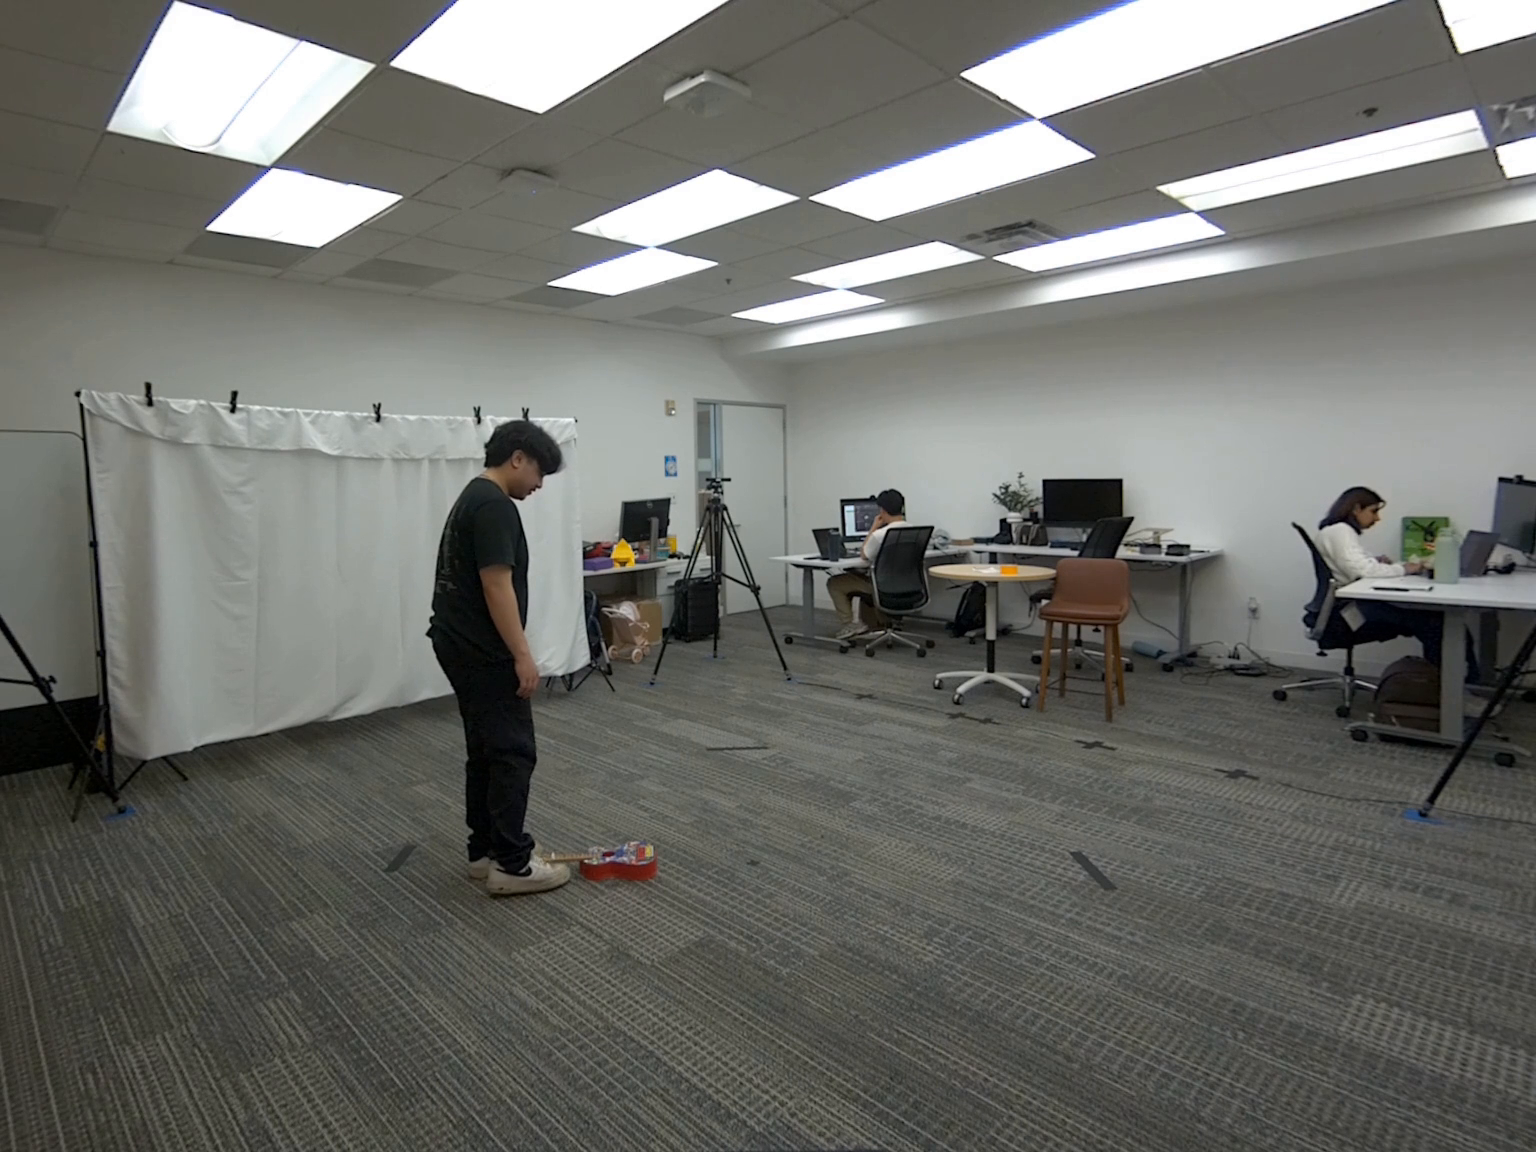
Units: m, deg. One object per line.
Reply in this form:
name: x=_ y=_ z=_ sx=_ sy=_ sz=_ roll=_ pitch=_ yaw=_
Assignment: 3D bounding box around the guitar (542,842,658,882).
guitar: x=-0.646 y=1.015 z=3.079 sx=0.499 sy=0.070 sz=0.193 roll=0 pitch=7 yaw=3
